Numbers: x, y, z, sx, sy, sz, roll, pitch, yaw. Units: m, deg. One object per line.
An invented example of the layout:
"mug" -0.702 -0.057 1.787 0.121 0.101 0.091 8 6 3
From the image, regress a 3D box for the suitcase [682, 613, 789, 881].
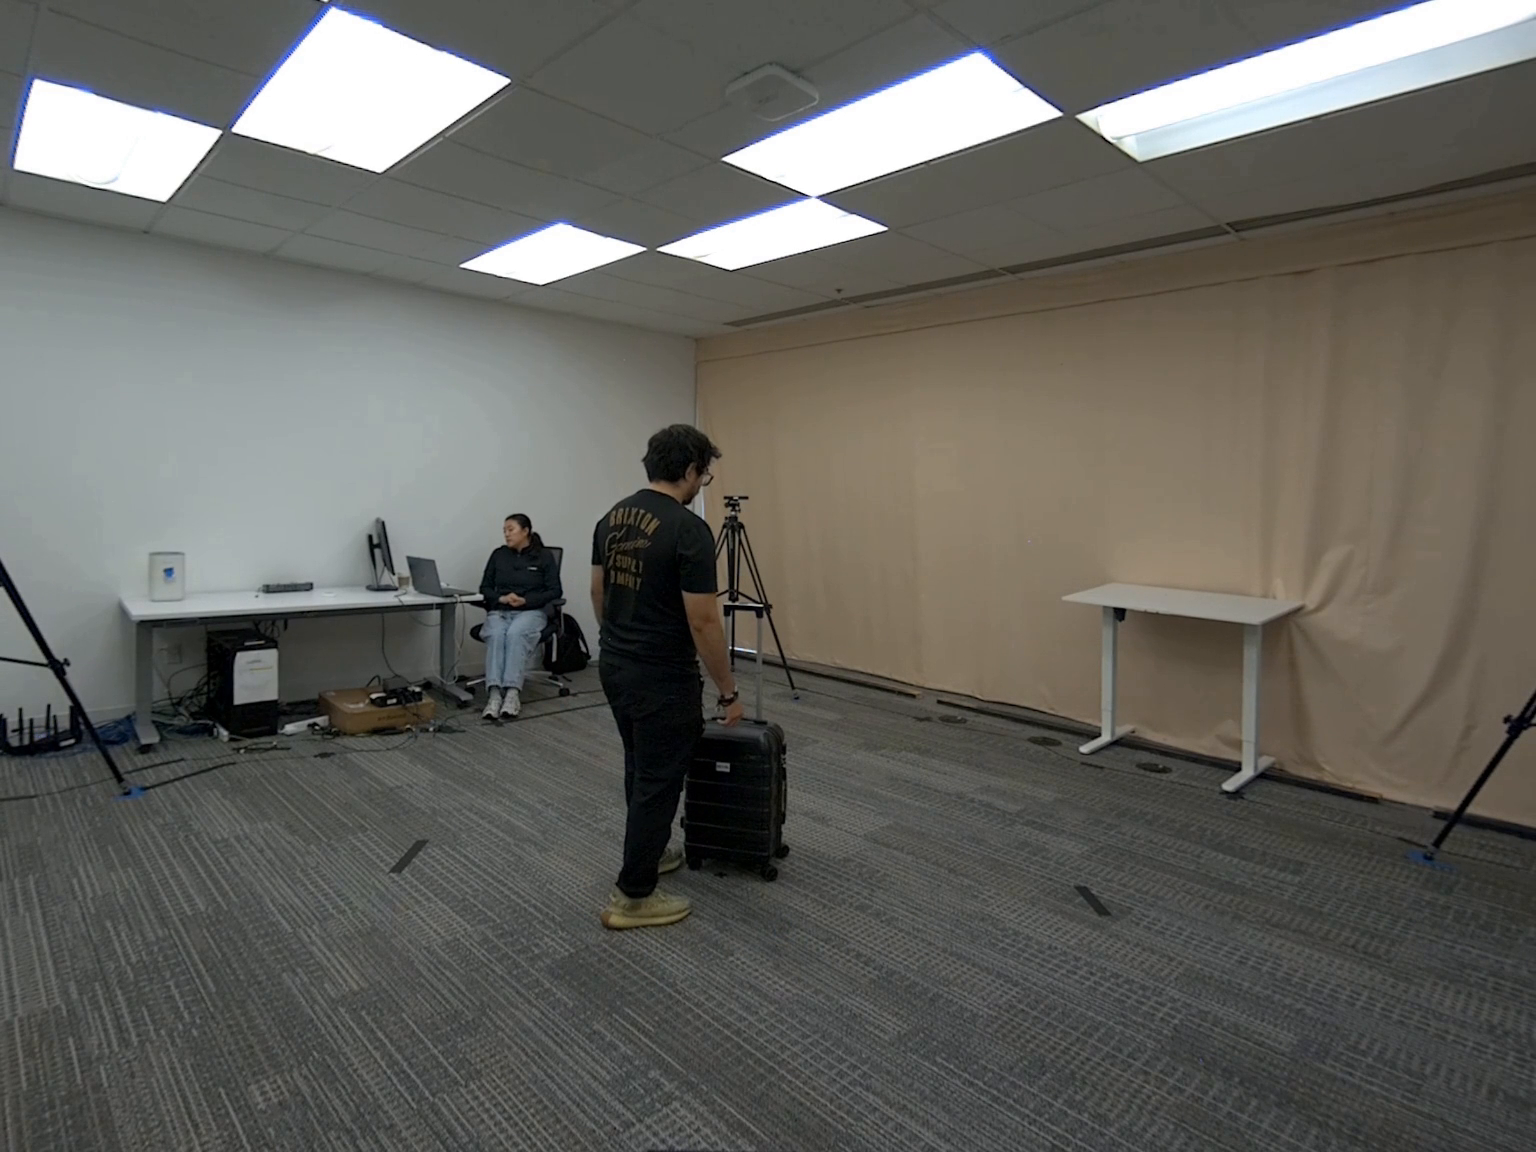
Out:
"suitcase" -0.121 0.620 3.173 0.389 0.974 0.255 2 6 15
